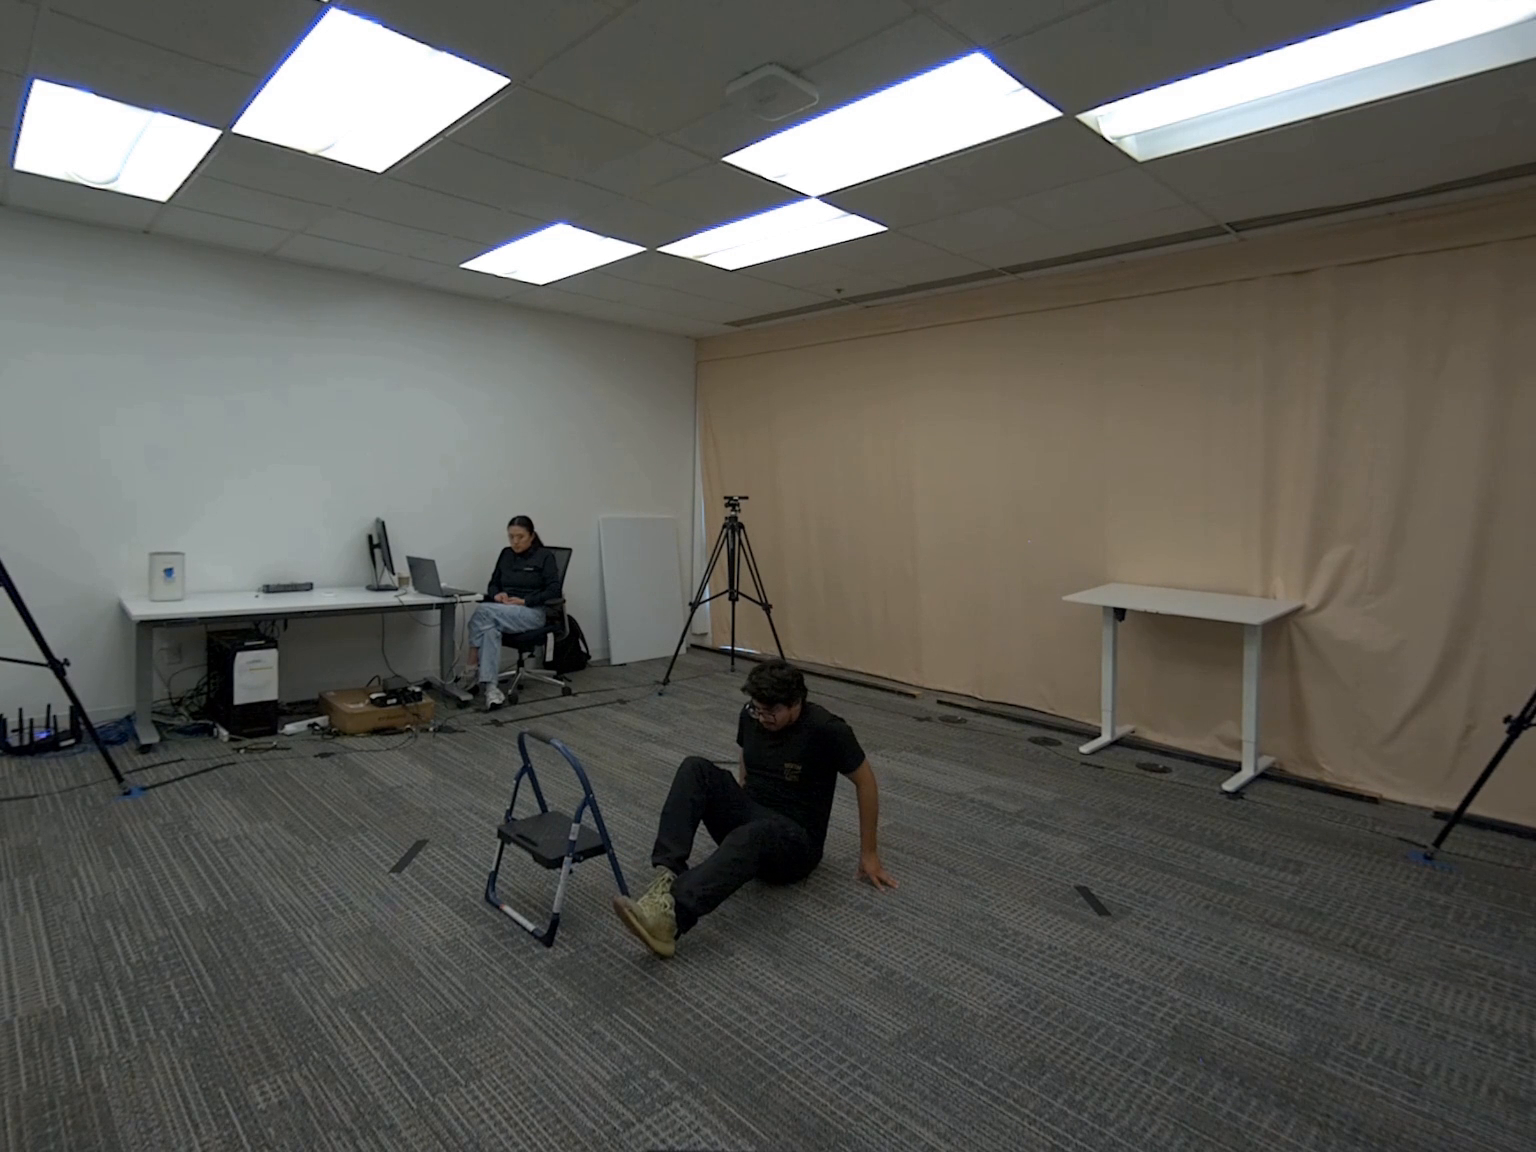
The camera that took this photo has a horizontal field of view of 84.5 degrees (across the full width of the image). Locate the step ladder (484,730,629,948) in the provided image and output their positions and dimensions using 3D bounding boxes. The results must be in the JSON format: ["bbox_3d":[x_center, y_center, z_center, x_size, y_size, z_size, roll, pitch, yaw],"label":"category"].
[{"bbox_3d":[-0.701,0.815,2.822,0.341,0.605,0.441,-2,5,-45],"label":"step ladder"}]
